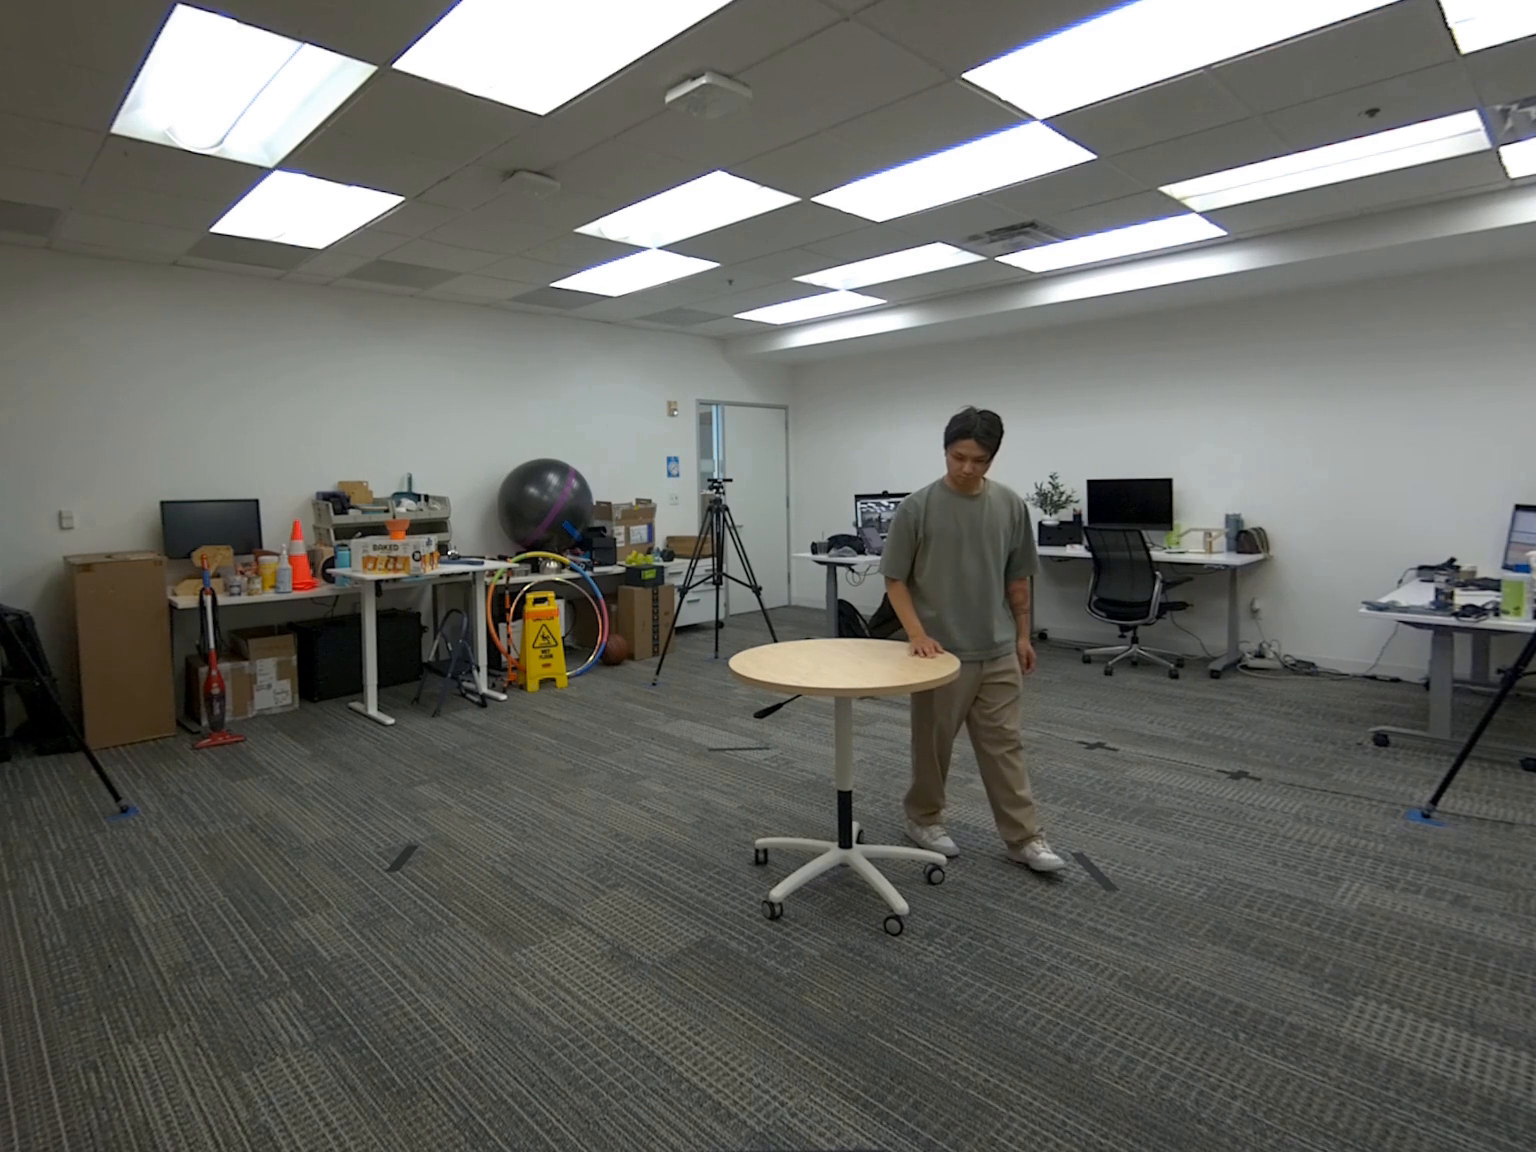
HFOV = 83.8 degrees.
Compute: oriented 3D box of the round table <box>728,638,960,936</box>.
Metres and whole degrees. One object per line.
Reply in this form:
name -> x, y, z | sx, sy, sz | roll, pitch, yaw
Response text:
round table -> 0.264, 0.675, 2.893 | 0.763, 0.791, 0.768 | -2, 5, -2
